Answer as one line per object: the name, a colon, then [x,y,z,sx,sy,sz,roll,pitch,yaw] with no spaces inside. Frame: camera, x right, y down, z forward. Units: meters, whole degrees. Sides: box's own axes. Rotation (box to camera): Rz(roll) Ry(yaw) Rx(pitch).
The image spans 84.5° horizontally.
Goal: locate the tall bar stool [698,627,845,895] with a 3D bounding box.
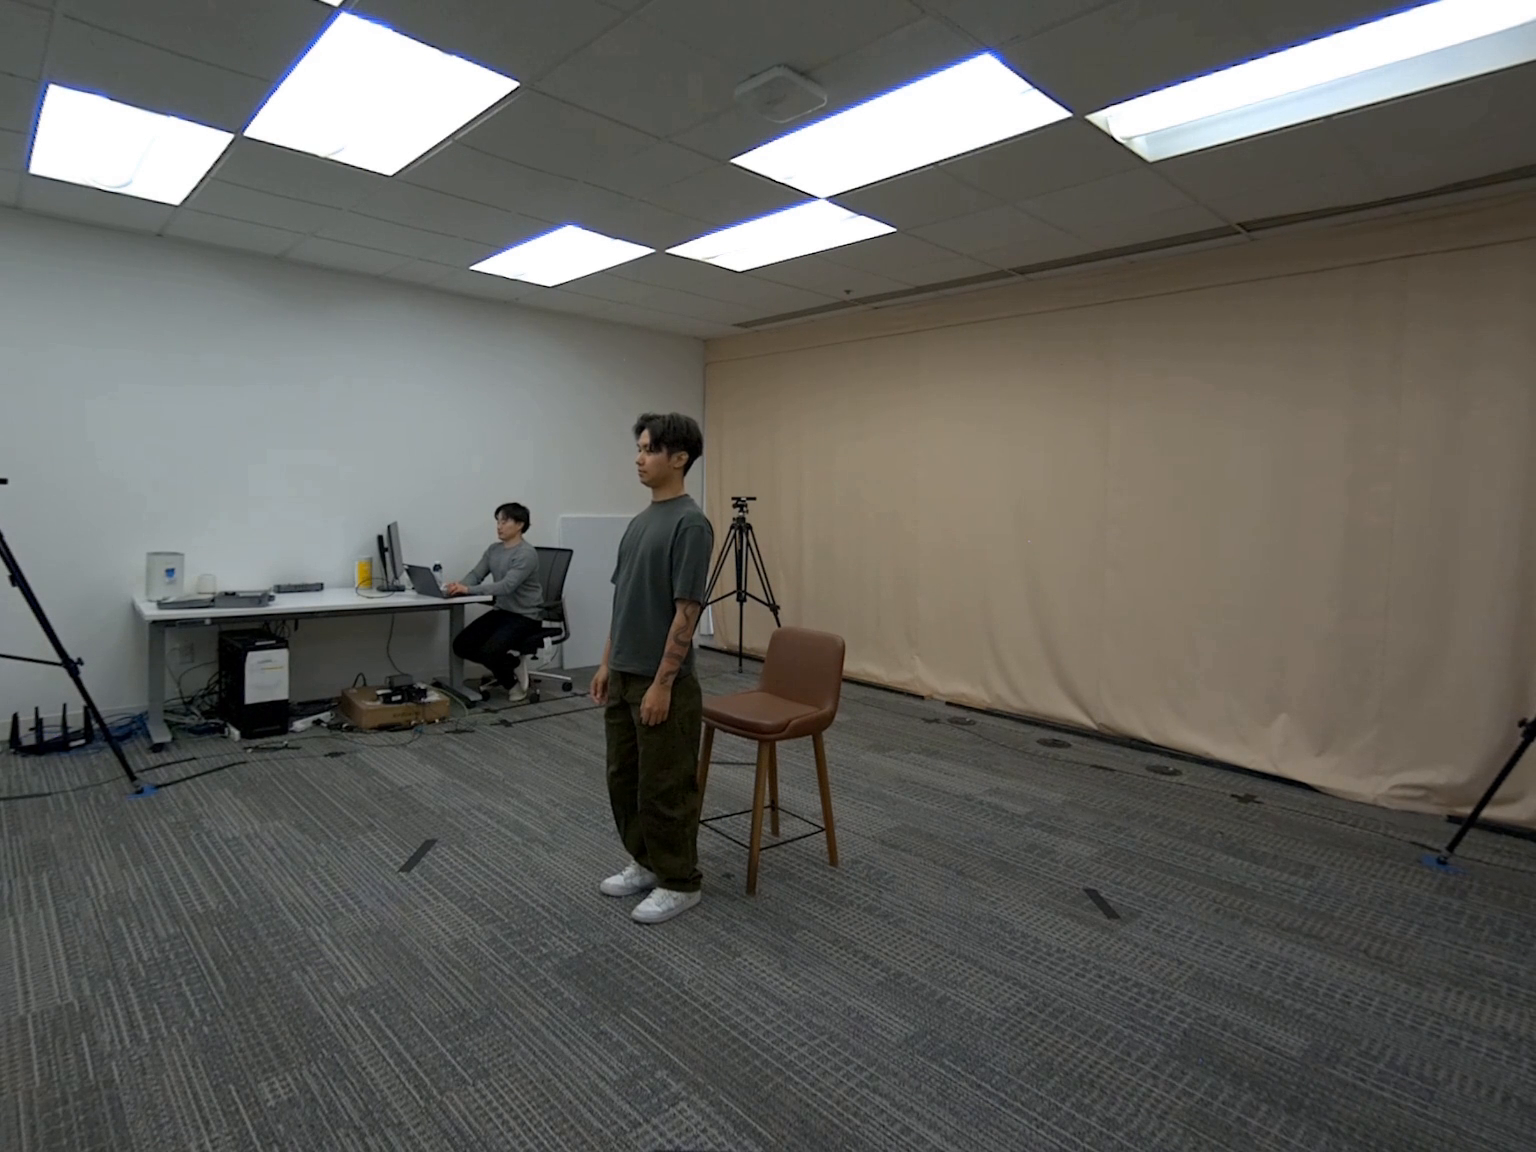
tall bar stool: [-0.008,0.663,3.215,0.456,0.889,0.468,2,2,-39]
